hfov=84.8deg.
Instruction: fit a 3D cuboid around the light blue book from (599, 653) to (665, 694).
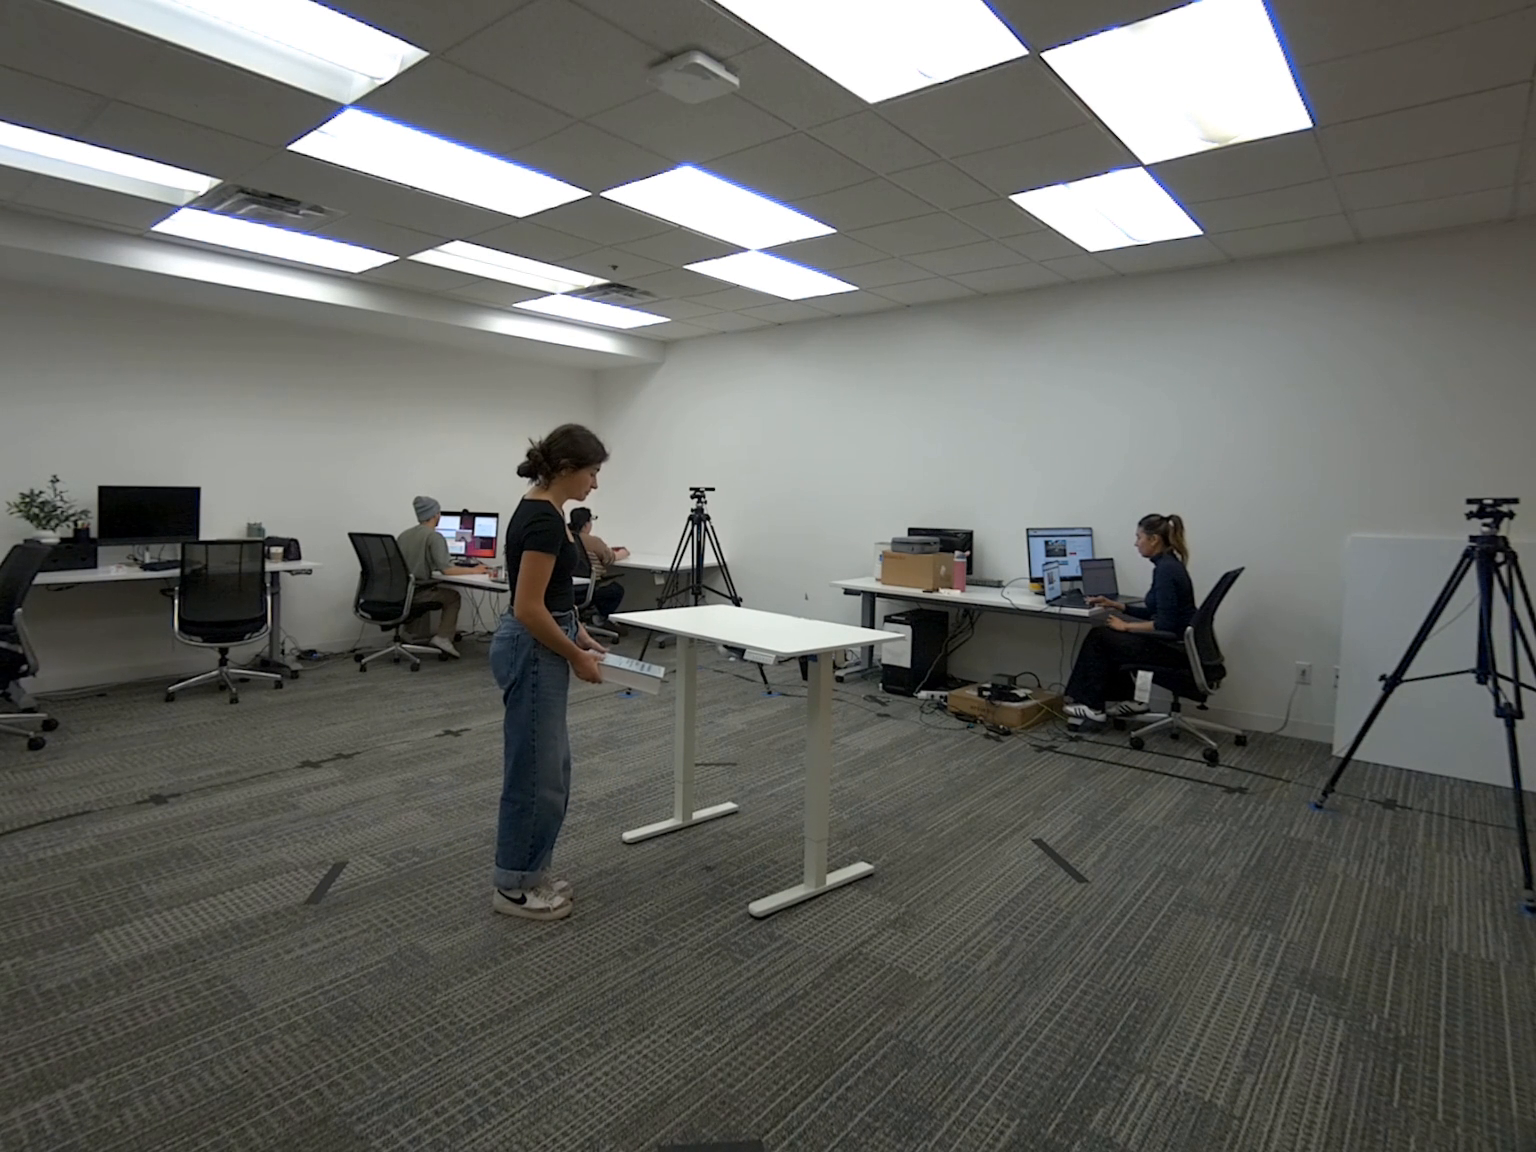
[{"bbox_3d":[-0.492,0.316,2.819,0.260,0.059,0.192,13,4,-2],"label":"light blue book"}]
